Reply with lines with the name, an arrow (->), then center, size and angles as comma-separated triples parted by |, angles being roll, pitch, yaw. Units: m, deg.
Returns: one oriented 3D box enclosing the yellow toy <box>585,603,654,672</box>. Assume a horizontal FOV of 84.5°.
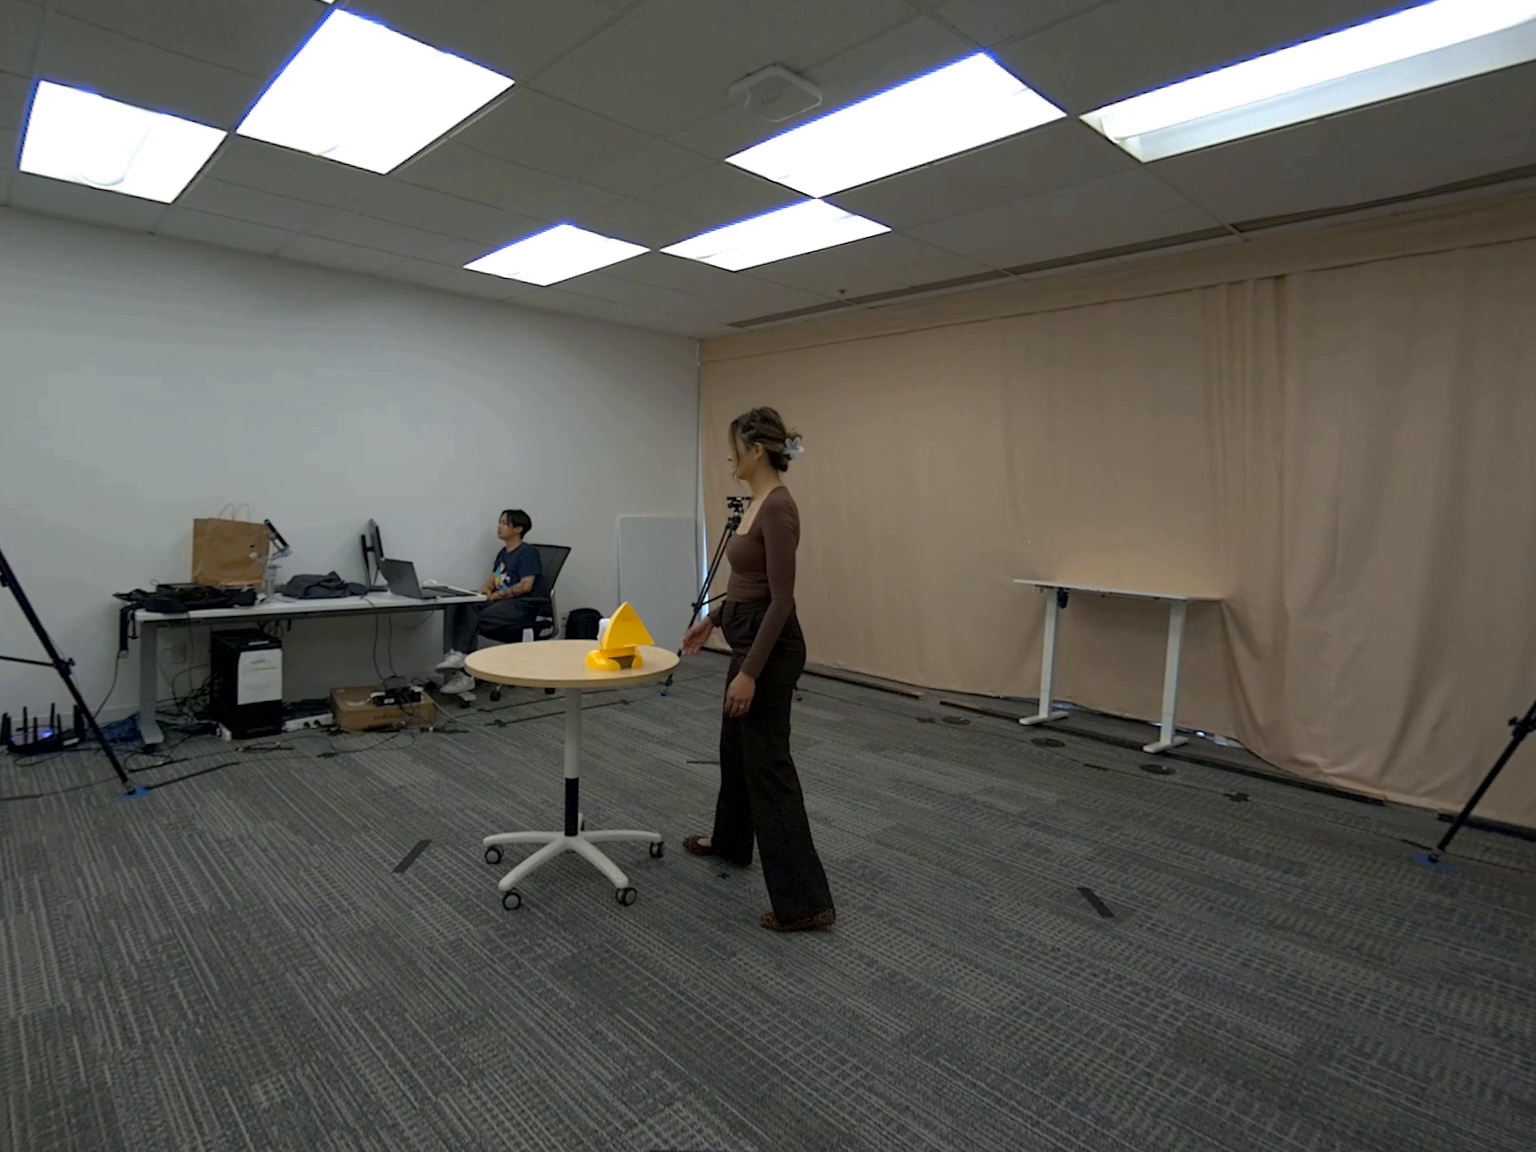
yellow toy -> -0.534, 0.200, 2.948 | 0.200, 0.230, 0.198 | -3, 6, -41
